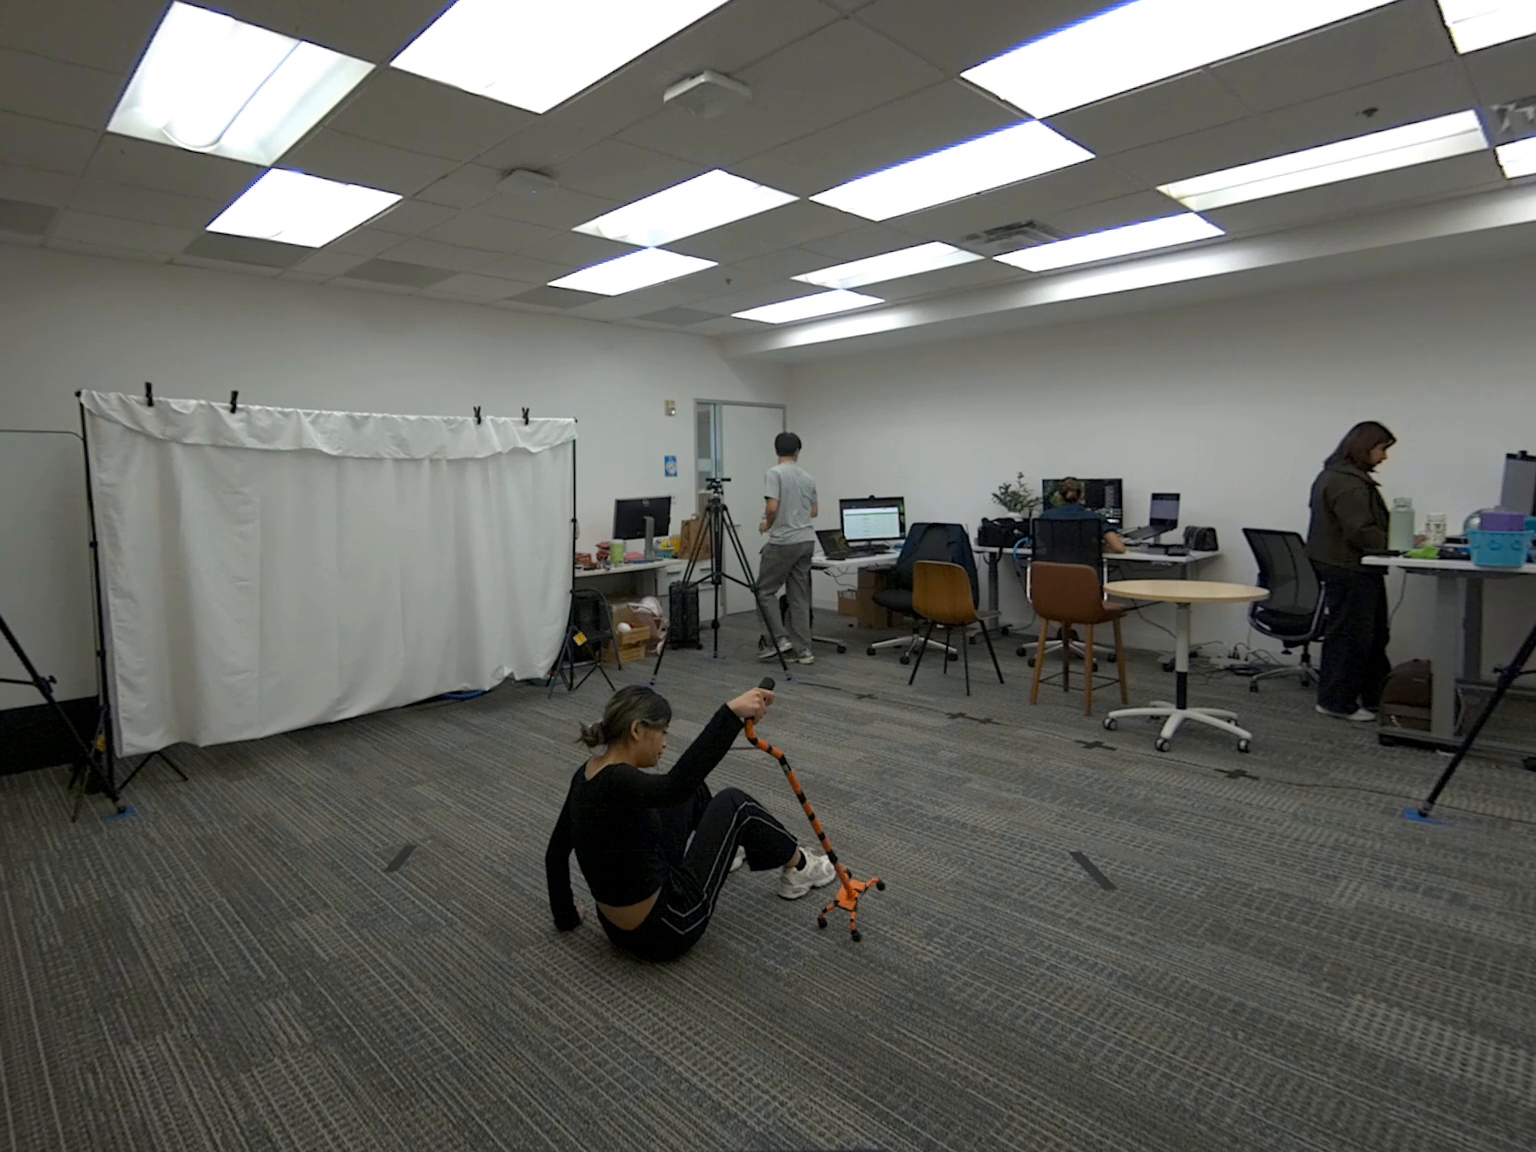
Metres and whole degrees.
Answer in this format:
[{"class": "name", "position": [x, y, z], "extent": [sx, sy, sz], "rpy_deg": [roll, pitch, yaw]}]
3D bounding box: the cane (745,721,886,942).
[{"class": "cane", "position": [0.109, 0.679, 2.459], "extent": [0.155, 0.880, 0.207], "rpy_deg": [-3, 35, 34]}]
